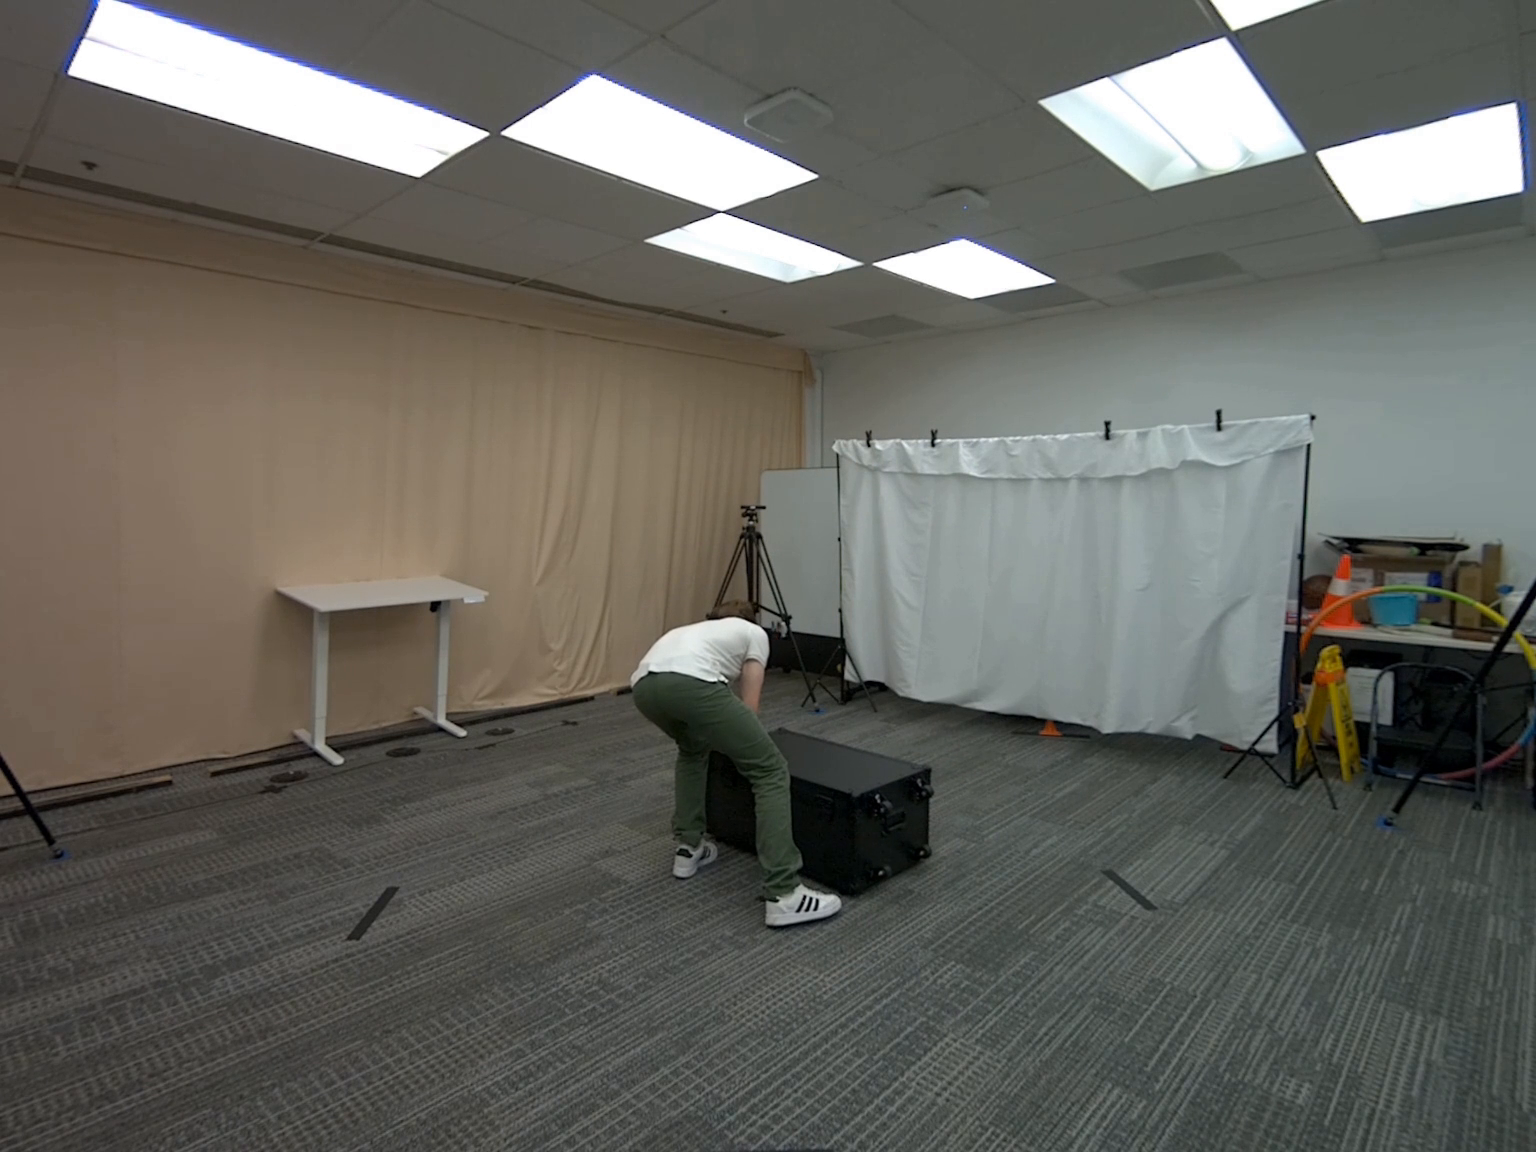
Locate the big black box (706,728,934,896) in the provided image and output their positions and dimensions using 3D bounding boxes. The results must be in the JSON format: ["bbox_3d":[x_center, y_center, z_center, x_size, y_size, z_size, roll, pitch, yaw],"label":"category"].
[{"bbox_3d":[0.212,0.921,3.378,0.890,0.395,0.505,3,5,44],"label":"big black box"}]
